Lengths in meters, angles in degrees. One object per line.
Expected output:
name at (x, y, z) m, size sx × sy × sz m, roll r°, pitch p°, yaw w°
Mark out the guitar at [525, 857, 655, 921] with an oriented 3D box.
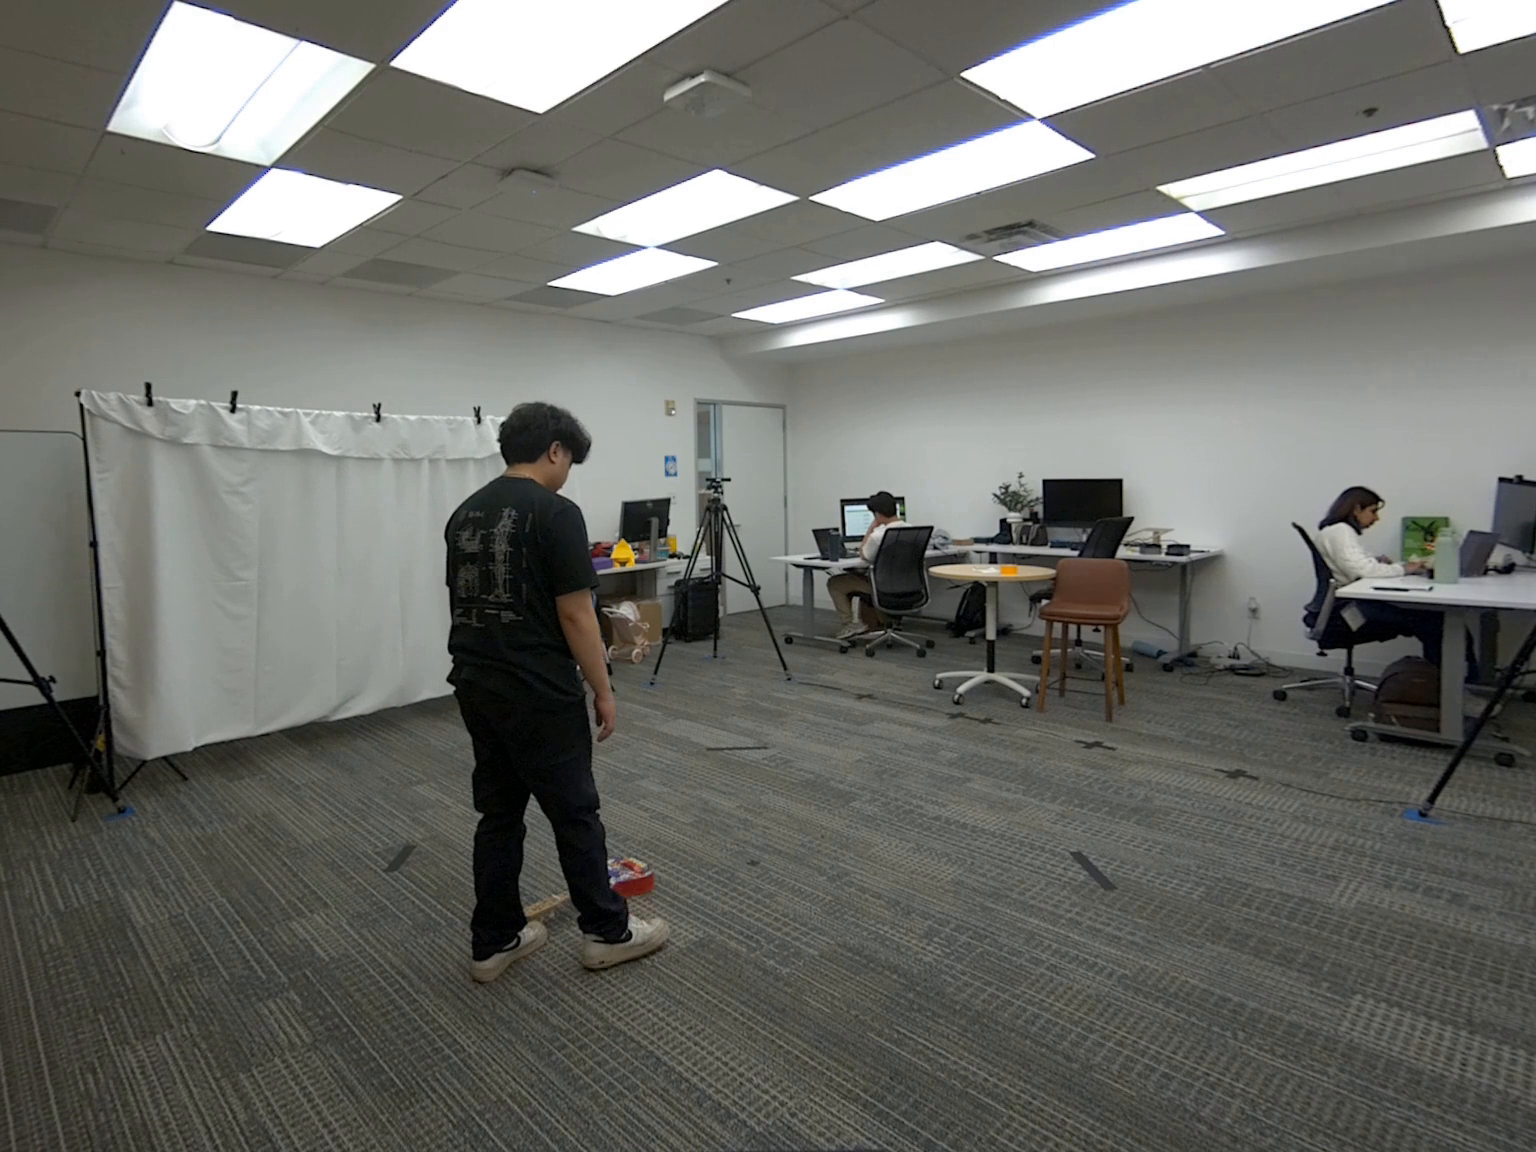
guitar at (-0.615, 1.049, 2.844) m, size 0.485 × 0.070 × 0.199 m, roll -7°, pitch 9°, yaw -39°
